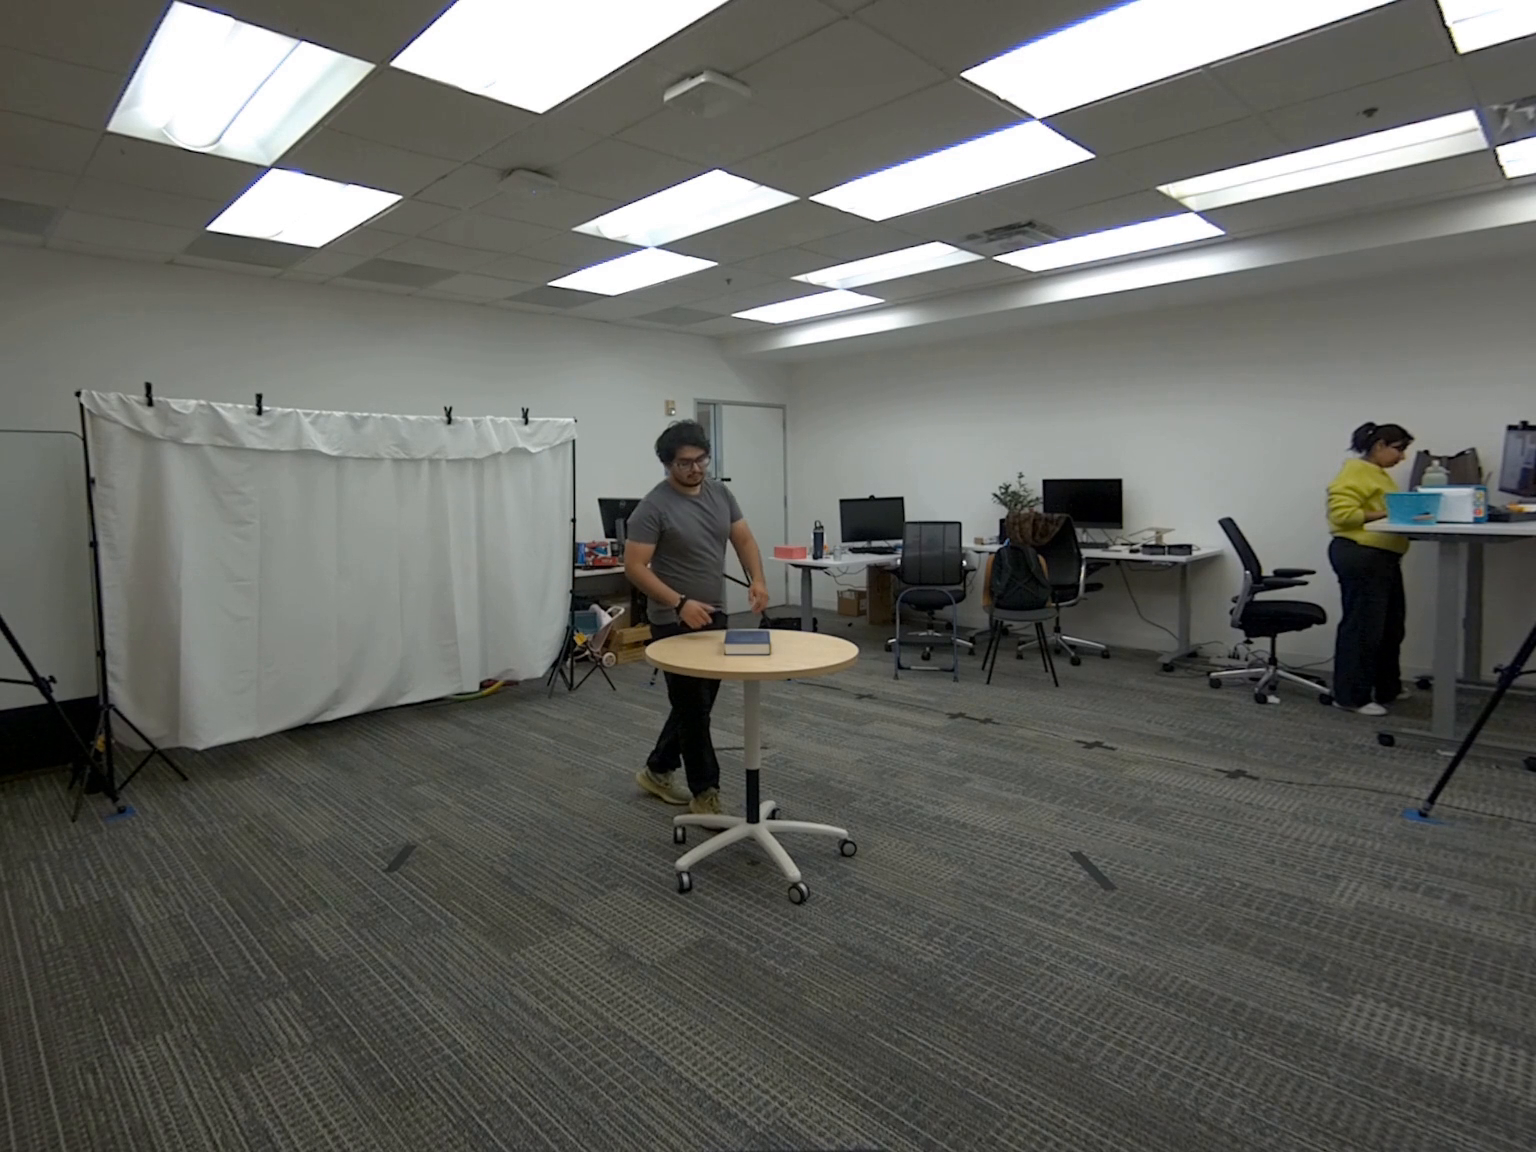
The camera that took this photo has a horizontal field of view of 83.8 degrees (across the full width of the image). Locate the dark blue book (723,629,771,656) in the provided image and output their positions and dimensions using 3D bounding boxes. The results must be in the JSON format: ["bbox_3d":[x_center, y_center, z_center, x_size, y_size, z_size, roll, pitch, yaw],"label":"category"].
[{"bbox_3d":[-0.068,0.244,3.078,0.163,0.045,0.246,-1,7,0],"label":"dark blue book"}]
